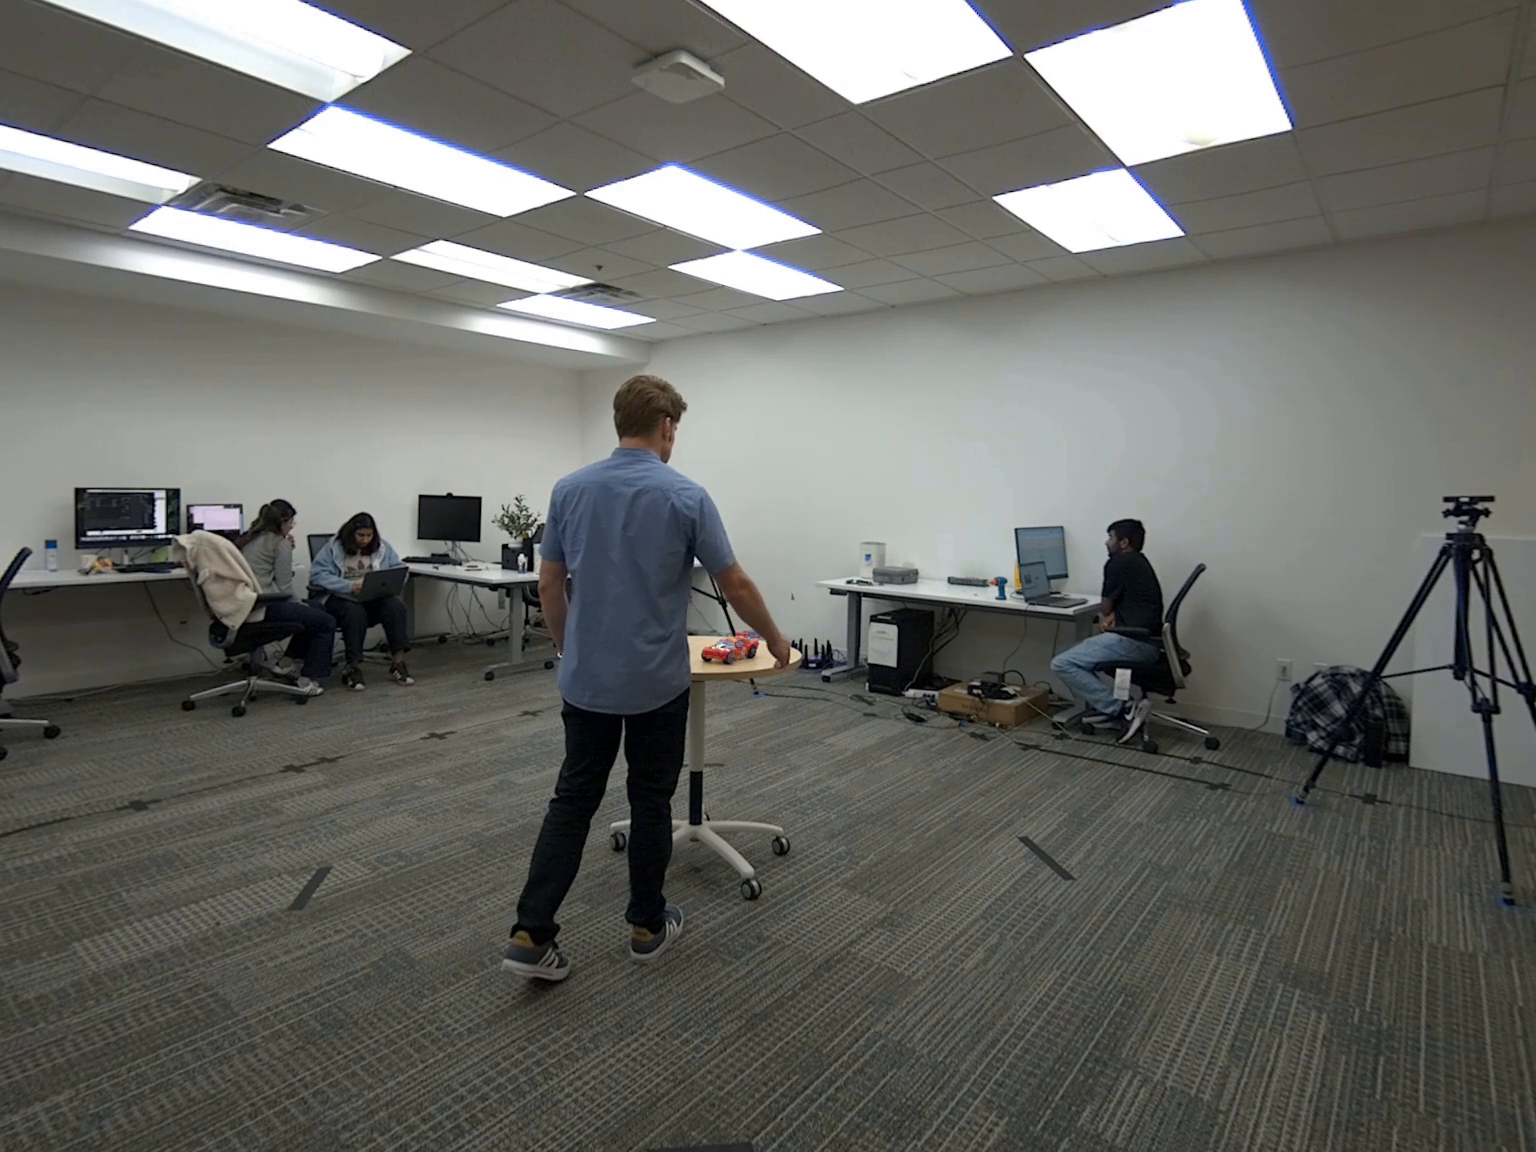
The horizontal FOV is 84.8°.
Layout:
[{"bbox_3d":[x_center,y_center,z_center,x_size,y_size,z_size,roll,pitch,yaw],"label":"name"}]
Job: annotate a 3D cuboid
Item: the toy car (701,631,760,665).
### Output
[{"bbox_3d":[-0.135,0.260,3.028,0.134,0.082,0.250,2,15,32],"label":"toy car"}]
